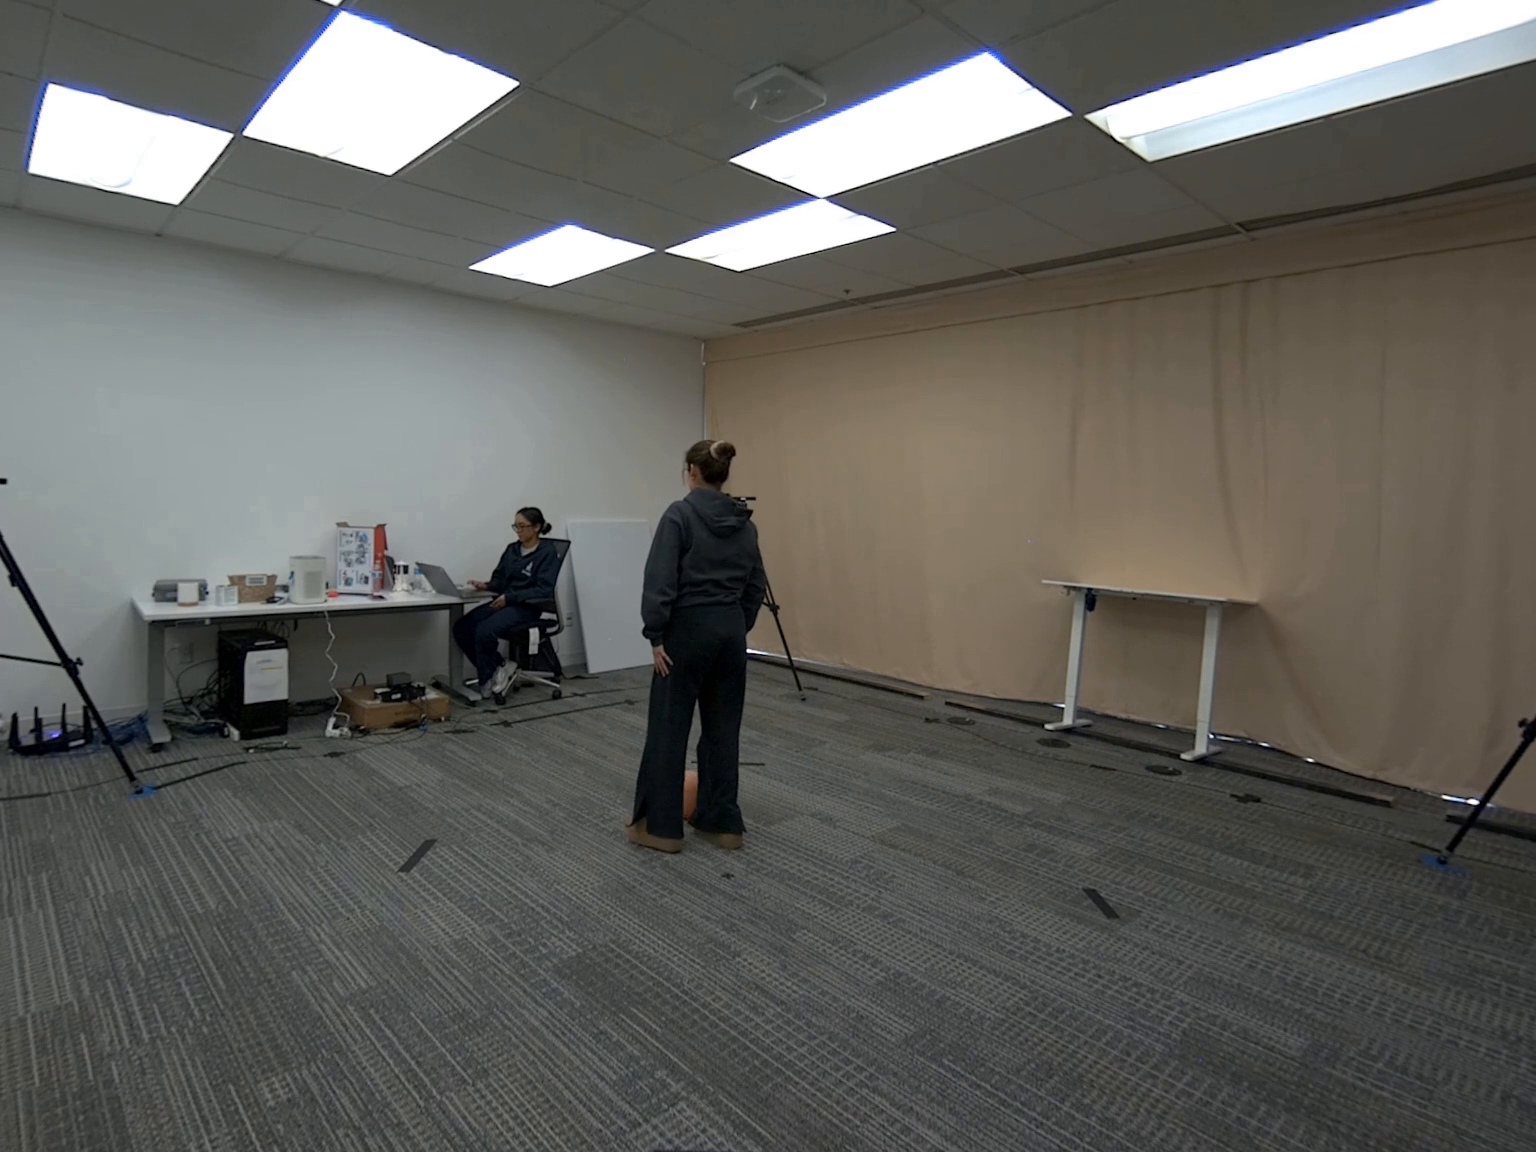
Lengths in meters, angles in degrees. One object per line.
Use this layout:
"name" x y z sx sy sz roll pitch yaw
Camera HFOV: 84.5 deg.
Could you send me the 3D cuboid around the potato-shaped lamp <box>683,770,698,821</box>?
"potato-shaped lamp" -0.359 0.952 3.695 0.175 0.198 0.161 3 4 39
